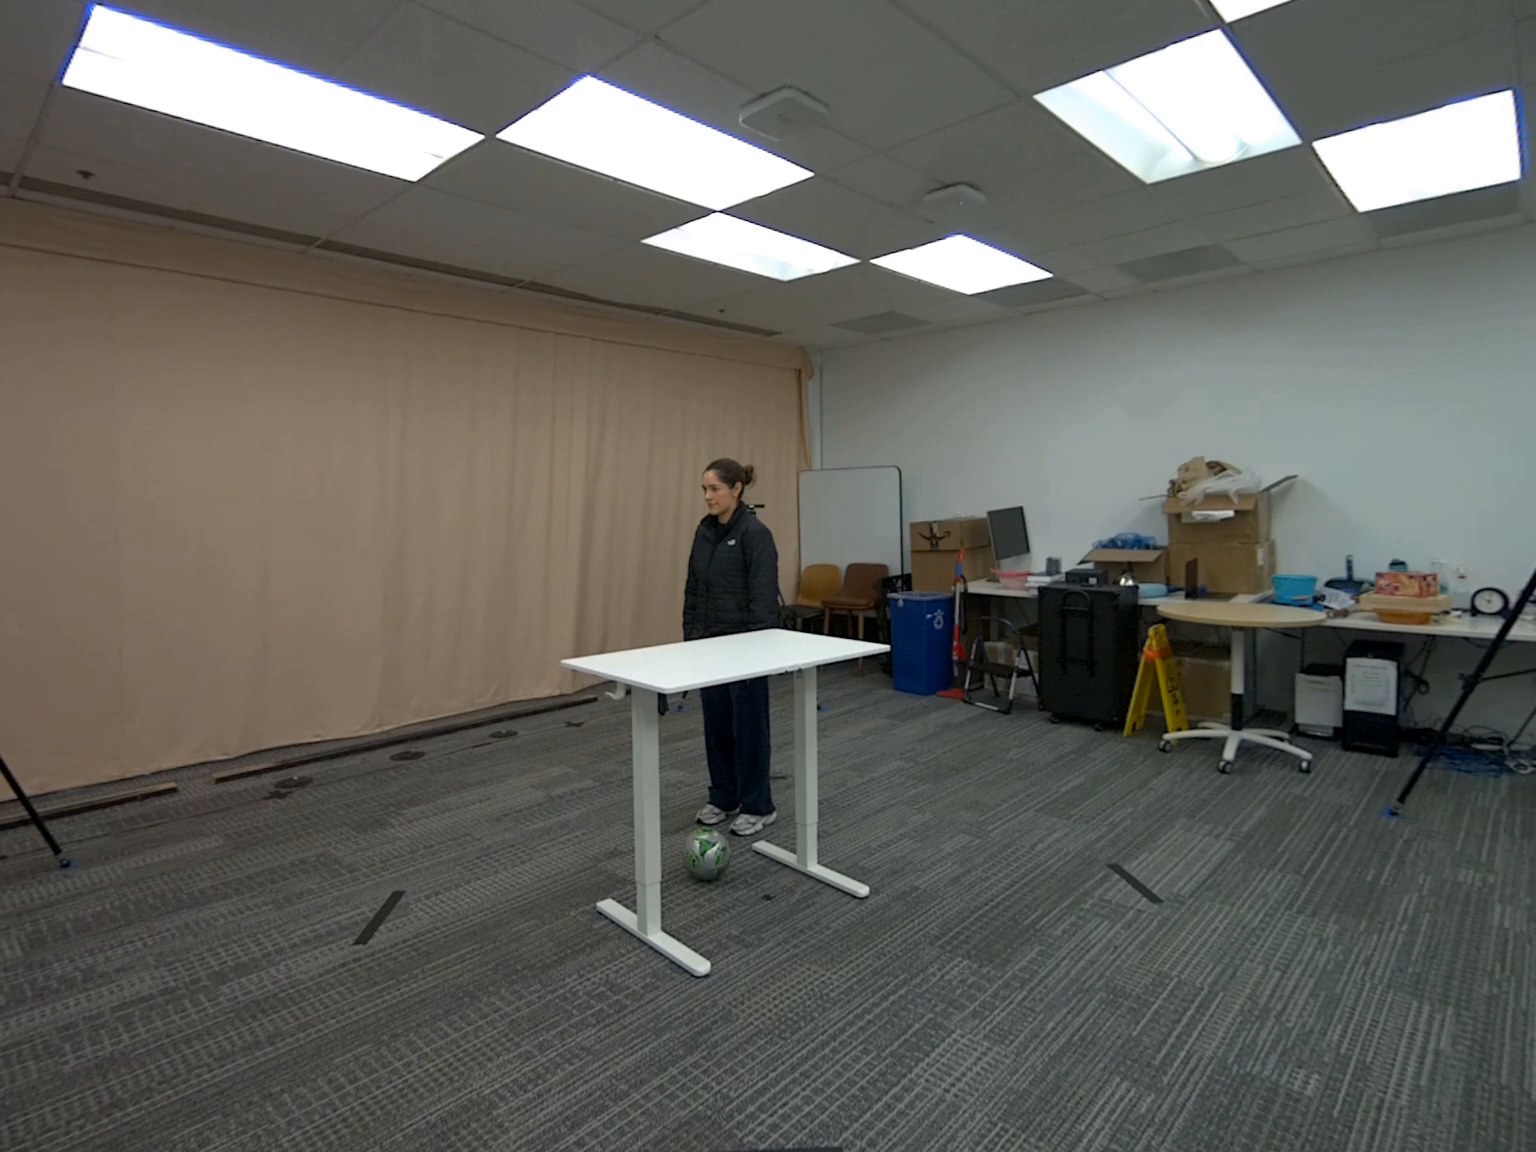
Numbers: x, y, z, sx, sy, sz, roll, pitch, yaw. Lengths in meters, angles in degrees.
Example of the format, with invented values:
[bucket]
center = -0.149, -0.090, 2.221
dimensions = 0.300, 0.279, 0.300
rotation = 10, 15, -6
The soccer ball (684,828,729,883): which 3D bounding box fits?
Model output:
[soccer ball]
center = -0.220, 1.028, 3.147
dimensions = 0.187, 0.187, 0.188
rotation = -1, 4, -2
